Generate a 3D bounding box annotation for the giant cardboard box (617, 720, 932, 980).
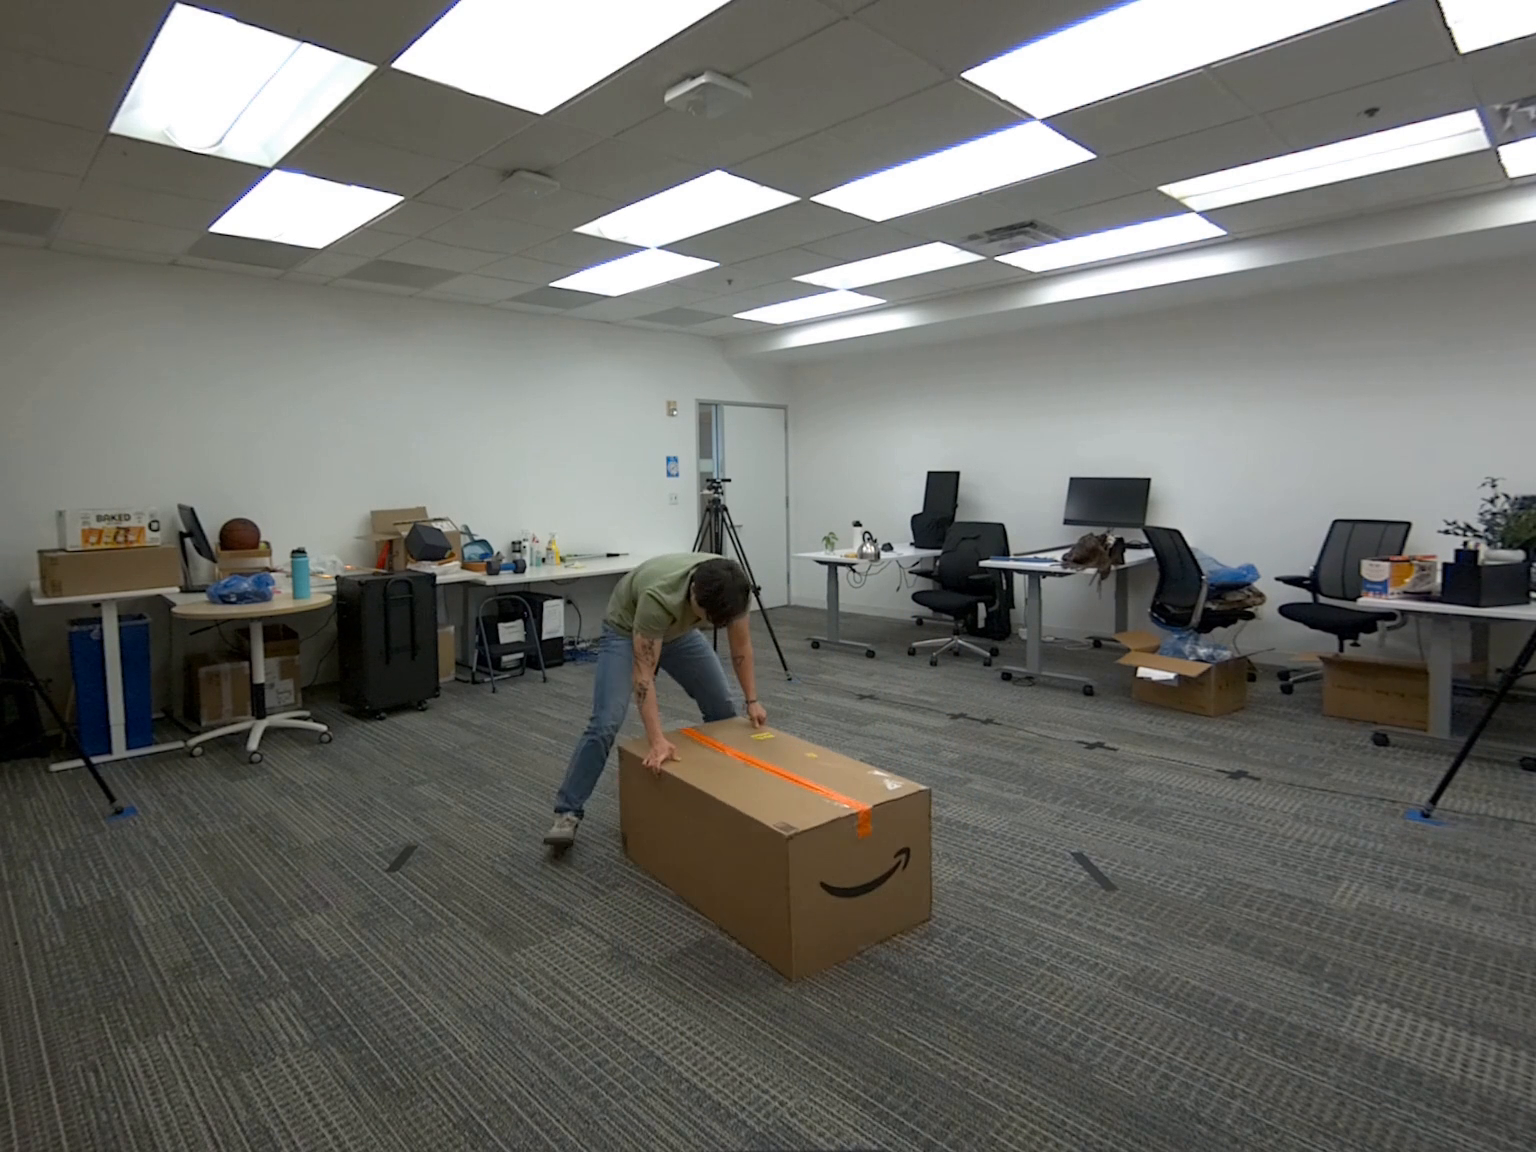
[{"bbox_3d":[-0.018,0.853,2.929,0.563,0.424,1.056,-5,7,-36],"label":"giant cardboard box"}]
